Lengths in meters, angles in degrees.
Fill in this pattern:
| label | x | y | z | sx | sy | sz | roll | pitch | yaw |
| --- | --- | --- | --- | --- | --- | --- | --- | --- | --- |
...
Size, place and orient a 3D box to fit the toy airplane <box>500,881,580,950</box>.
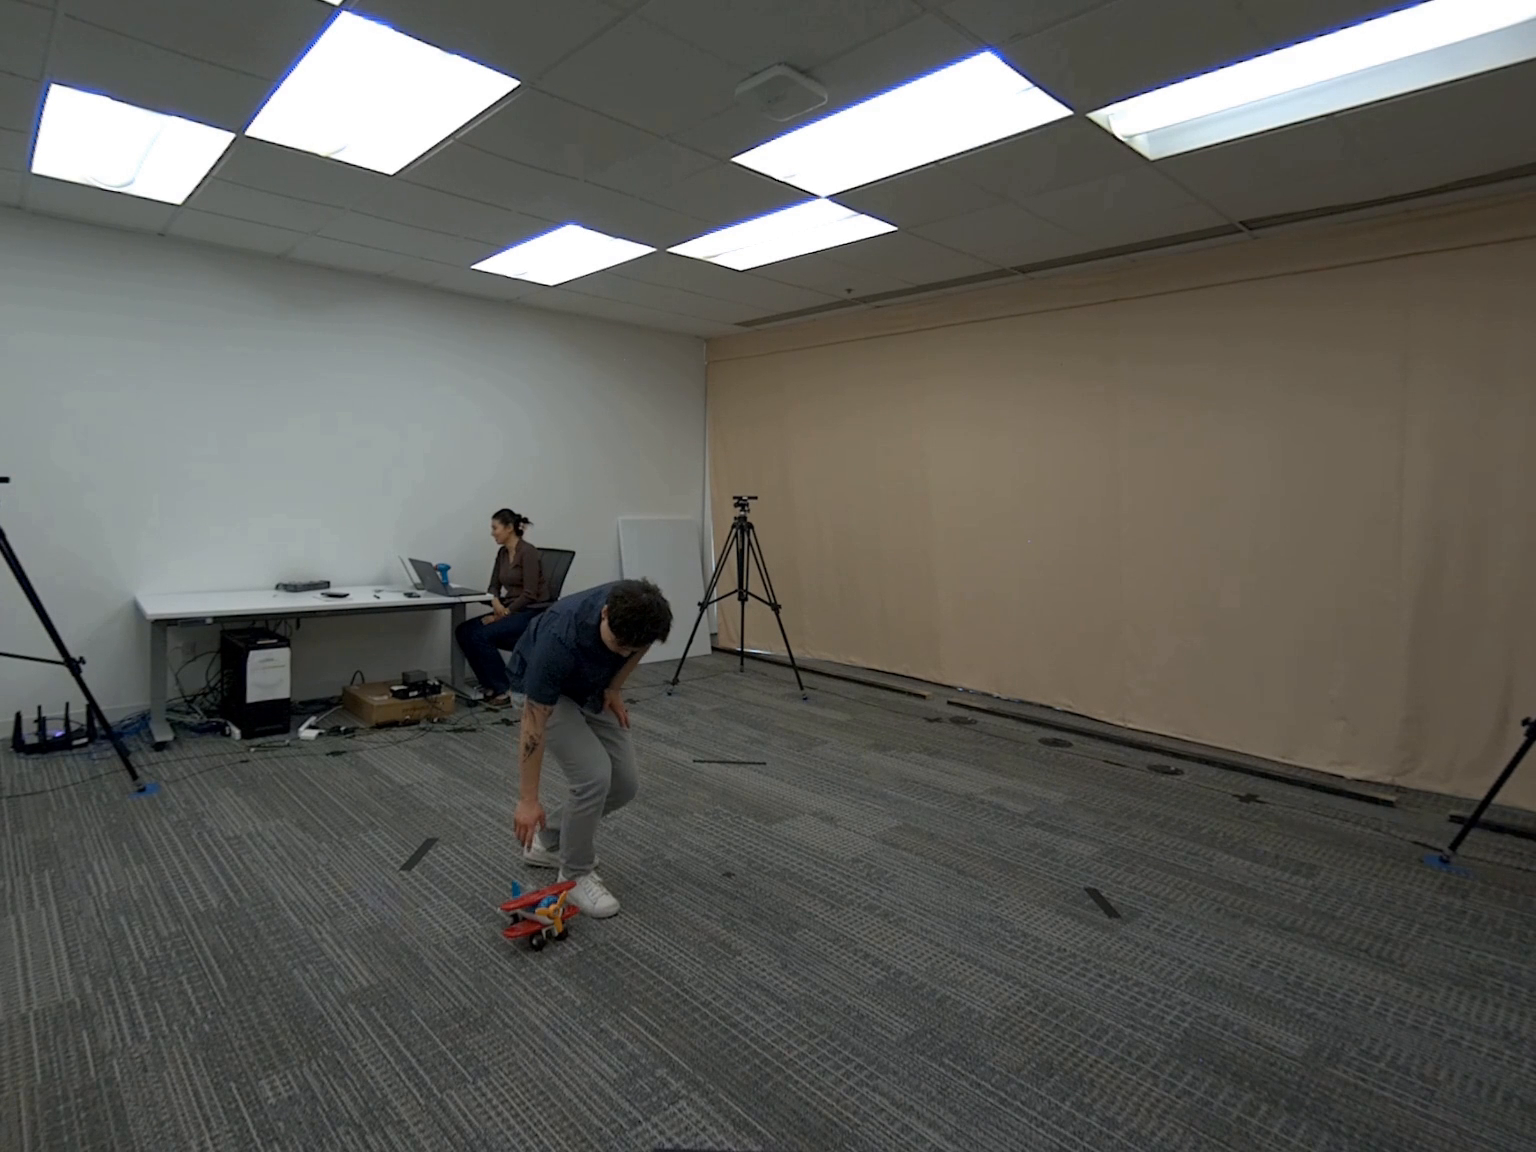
| label | x | y | z | sx | sy | sz | roll | pitch | yaw |
| --- | --- | --- | --- | --- | --- | --- | --- | --- | --- |
| toy airplane | -0.756 | 1.062 | 2.636 | 0.263 | 0.156 | 0.248 | 3 | 6 | 17 |
